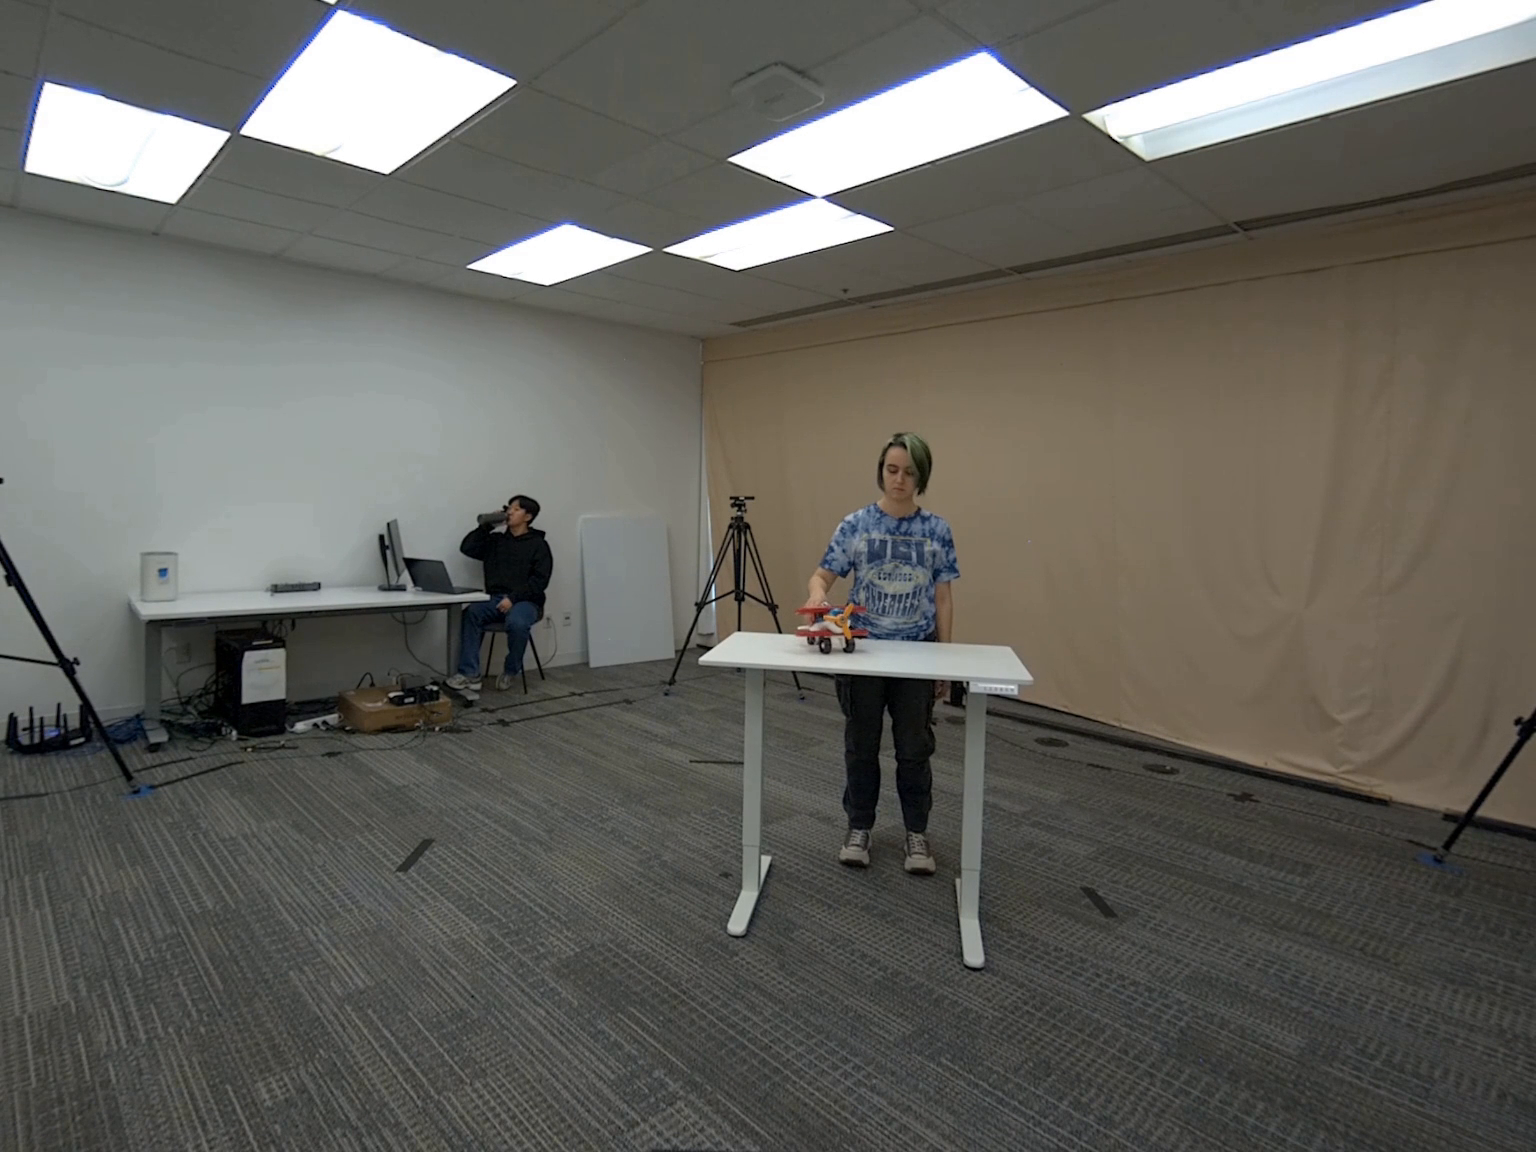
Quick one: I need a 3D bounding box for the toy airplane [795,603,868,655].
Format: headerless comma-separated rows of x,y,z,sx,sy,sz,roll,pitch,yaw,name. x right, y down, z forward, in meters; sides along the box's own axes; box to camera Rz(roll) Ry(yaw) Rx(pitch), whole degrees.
0.182,0.178,2.873,0.266,0.156,0.245,5,7,44,toy airplane
